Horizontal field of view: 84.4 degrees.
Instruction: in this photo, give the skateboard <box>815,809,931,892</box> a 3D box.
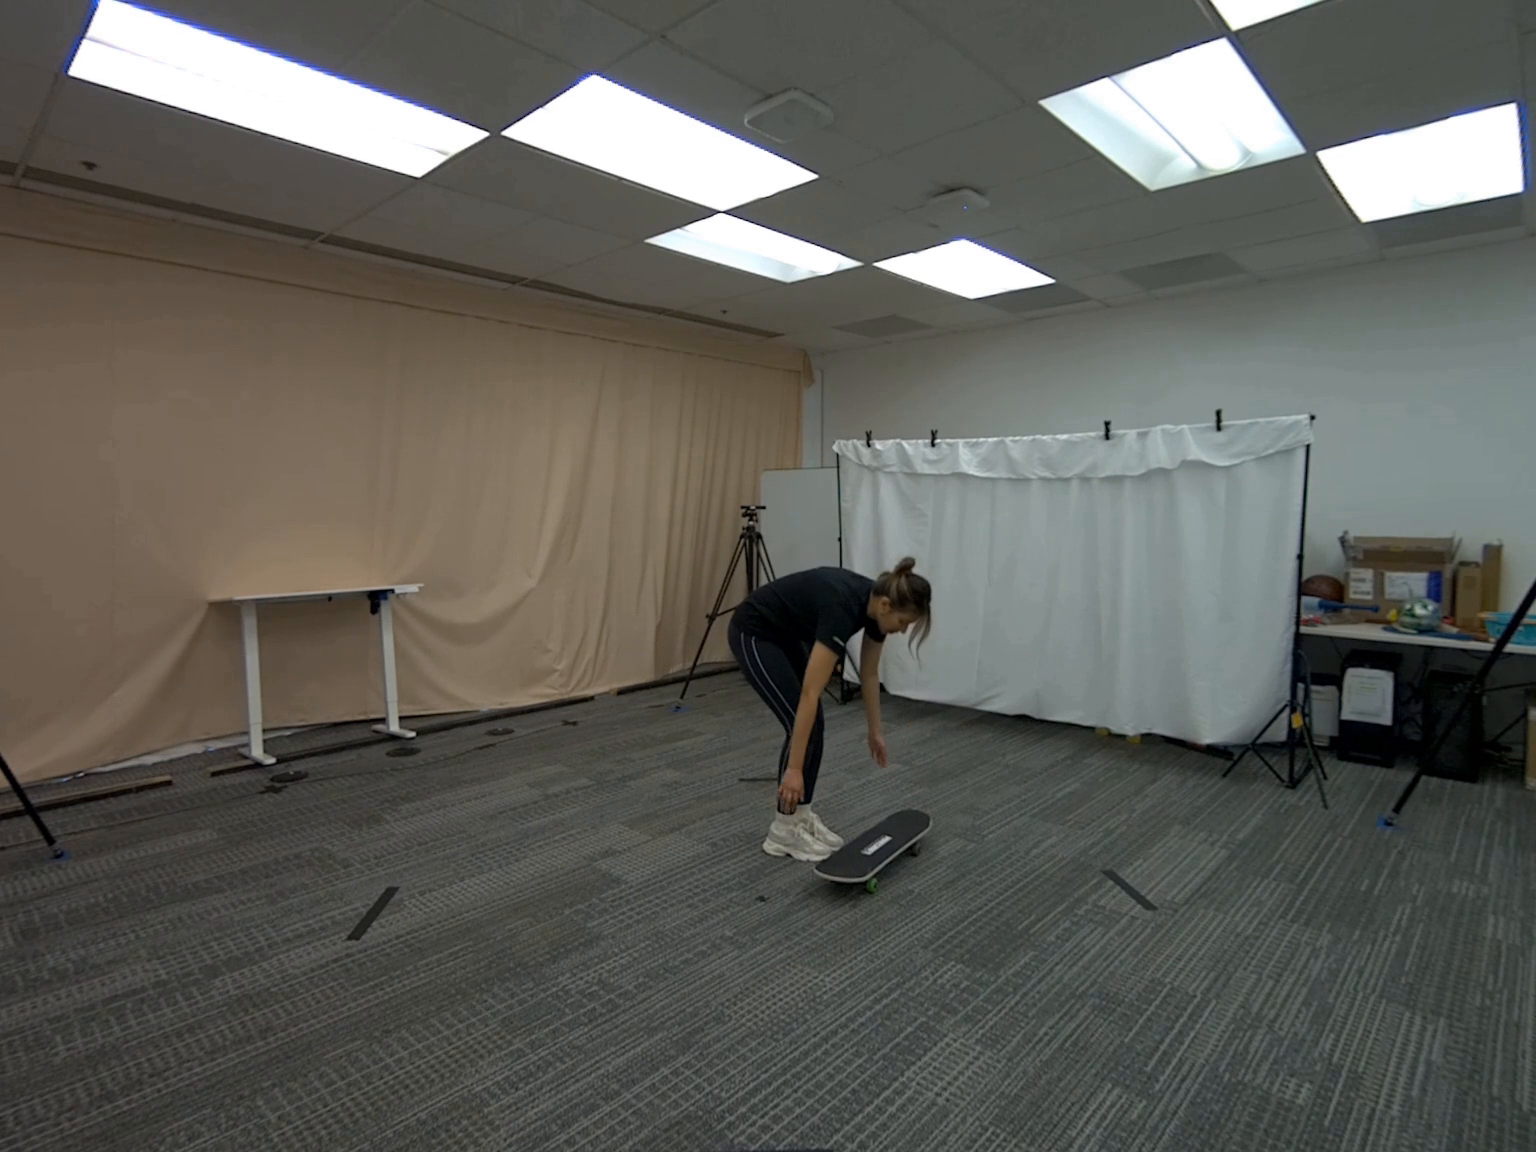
[{"bbox_3d":[0.420,1.063,3.232,0.199,0.110,0.763,2,5,34],"label":"skateboard"}]
